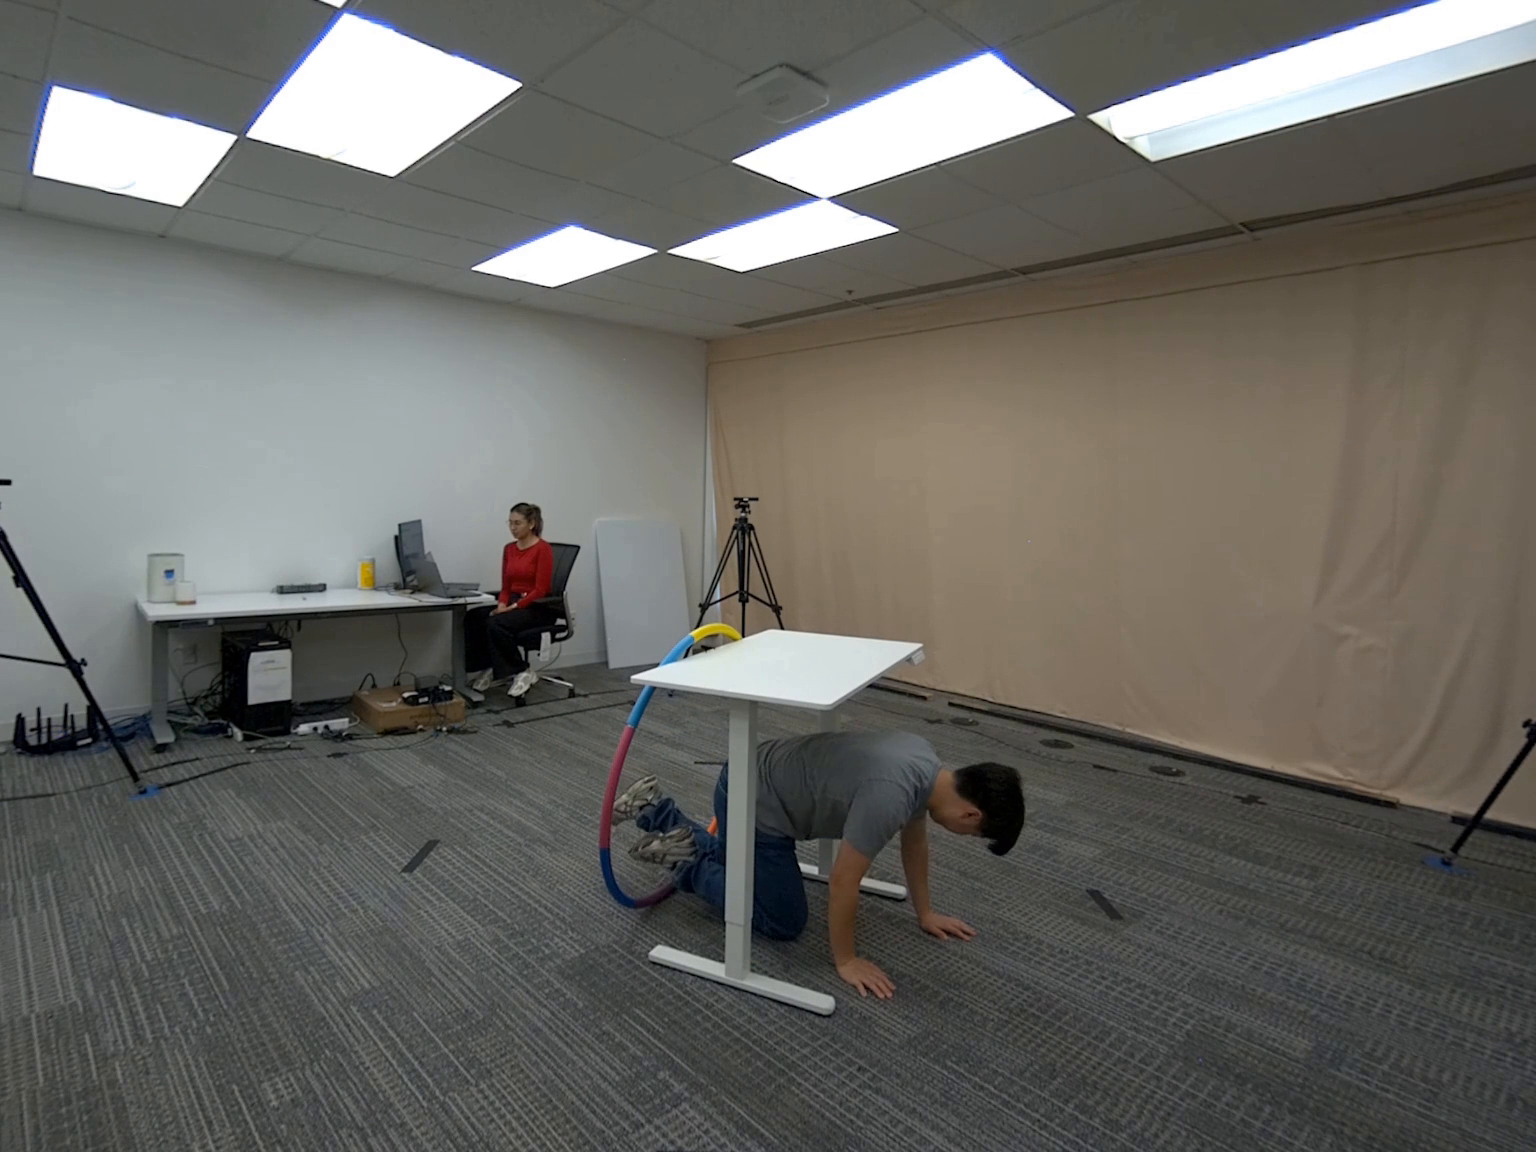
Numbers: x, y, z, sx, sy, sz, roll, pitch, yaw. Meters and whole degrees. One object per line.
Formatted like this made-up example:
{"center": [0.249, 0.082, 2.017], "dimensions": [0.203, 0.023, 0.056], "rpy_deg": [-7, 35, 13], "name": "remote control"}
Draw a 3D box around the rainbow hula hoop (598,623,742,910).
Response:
{"center": [-0.290, 0.640, 2.893], "dimensions": [0.036, 0.974, 0.963], "rpy_deg": [13, 8, 22], "name": "rainbow hula hoop"}
